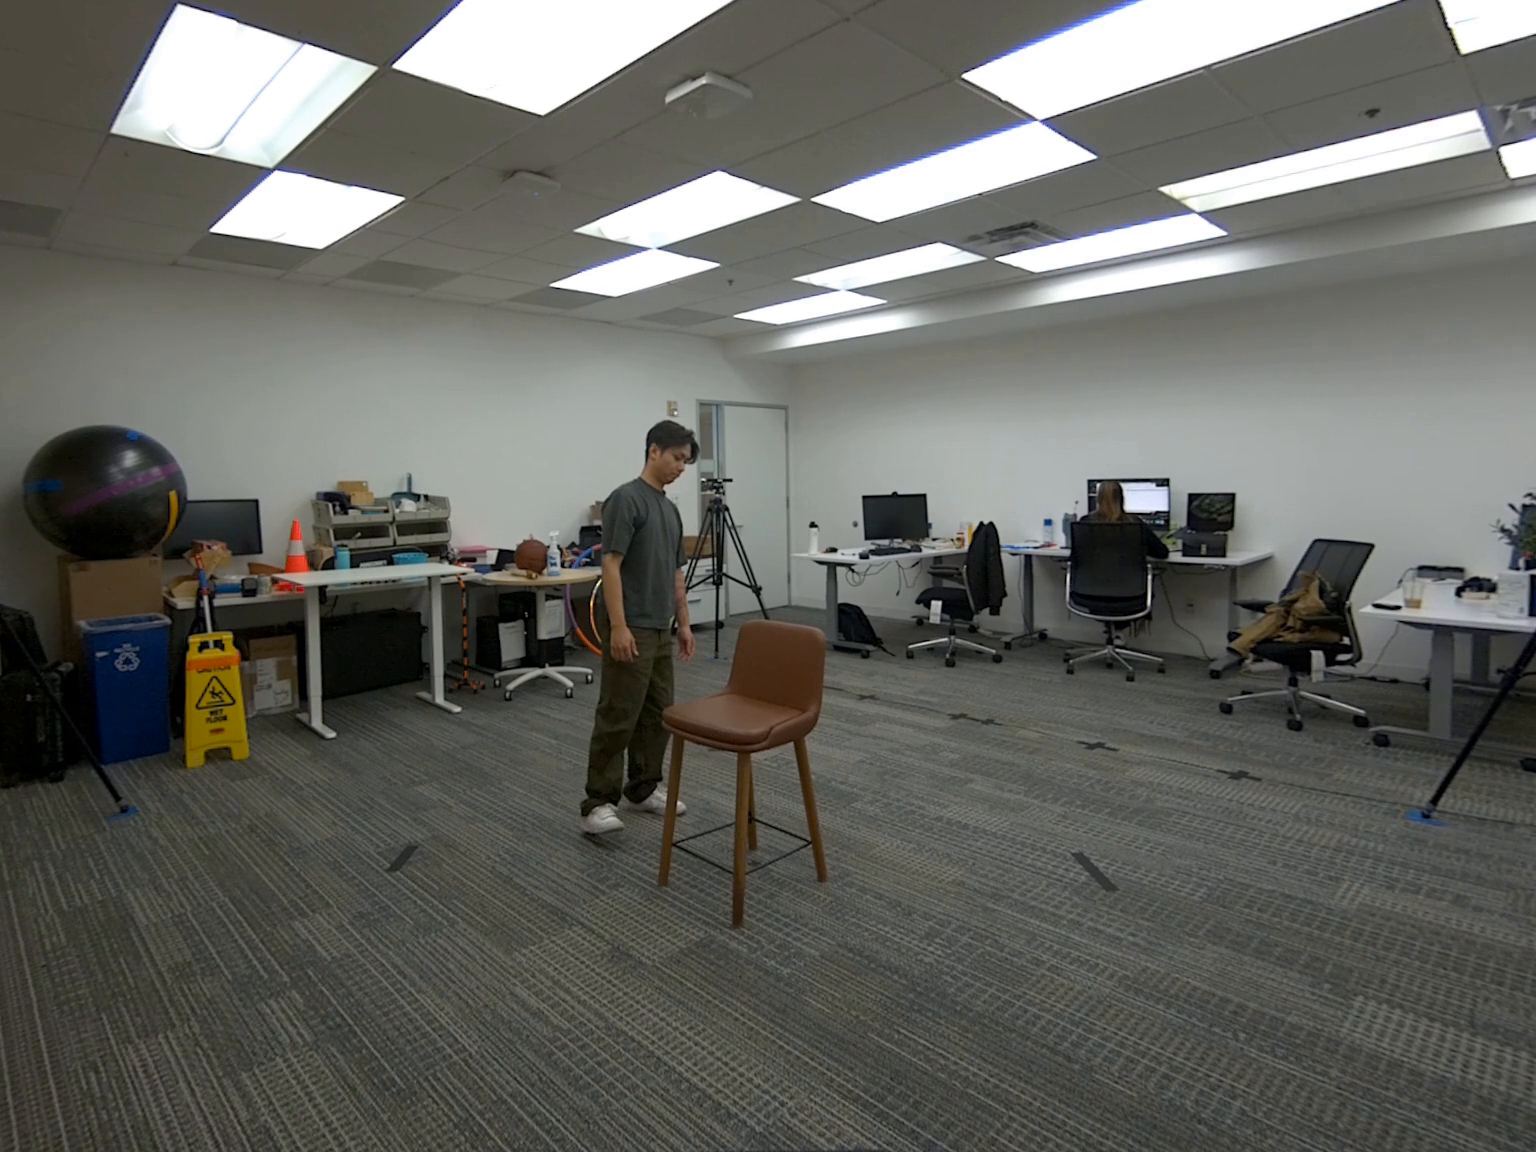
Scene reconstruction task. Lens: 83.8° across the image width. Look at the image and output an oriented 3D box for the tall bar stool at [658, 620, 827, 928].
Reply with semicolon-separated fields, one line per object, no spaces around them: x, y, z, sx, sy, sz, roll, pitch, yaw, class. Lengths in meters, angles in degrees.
-0.081;0.629;2.930;0.455;0.887;0.471;-3;5;-44;tall bar stool
